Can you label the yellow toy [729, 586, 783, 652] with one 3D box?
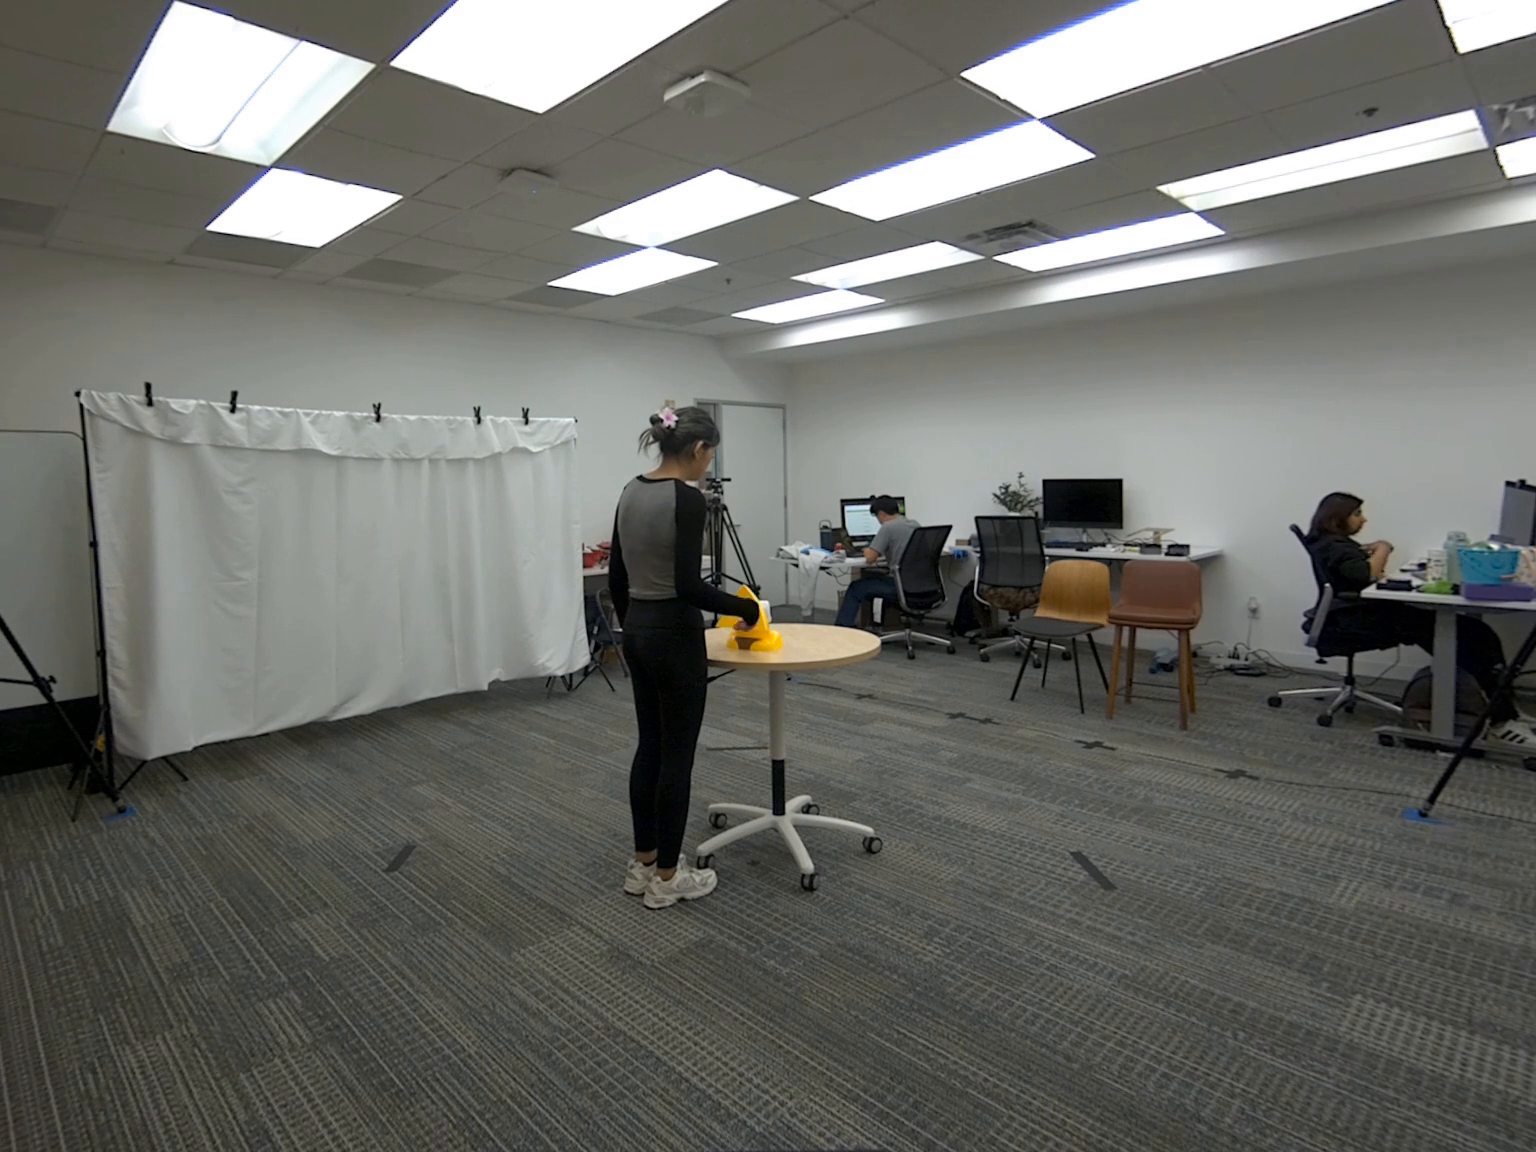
[{"bbox_3d":[-0.053,0.138,3.067,0.210,0.230,0.189,1,5,29],"label":"yellow toy"}]
